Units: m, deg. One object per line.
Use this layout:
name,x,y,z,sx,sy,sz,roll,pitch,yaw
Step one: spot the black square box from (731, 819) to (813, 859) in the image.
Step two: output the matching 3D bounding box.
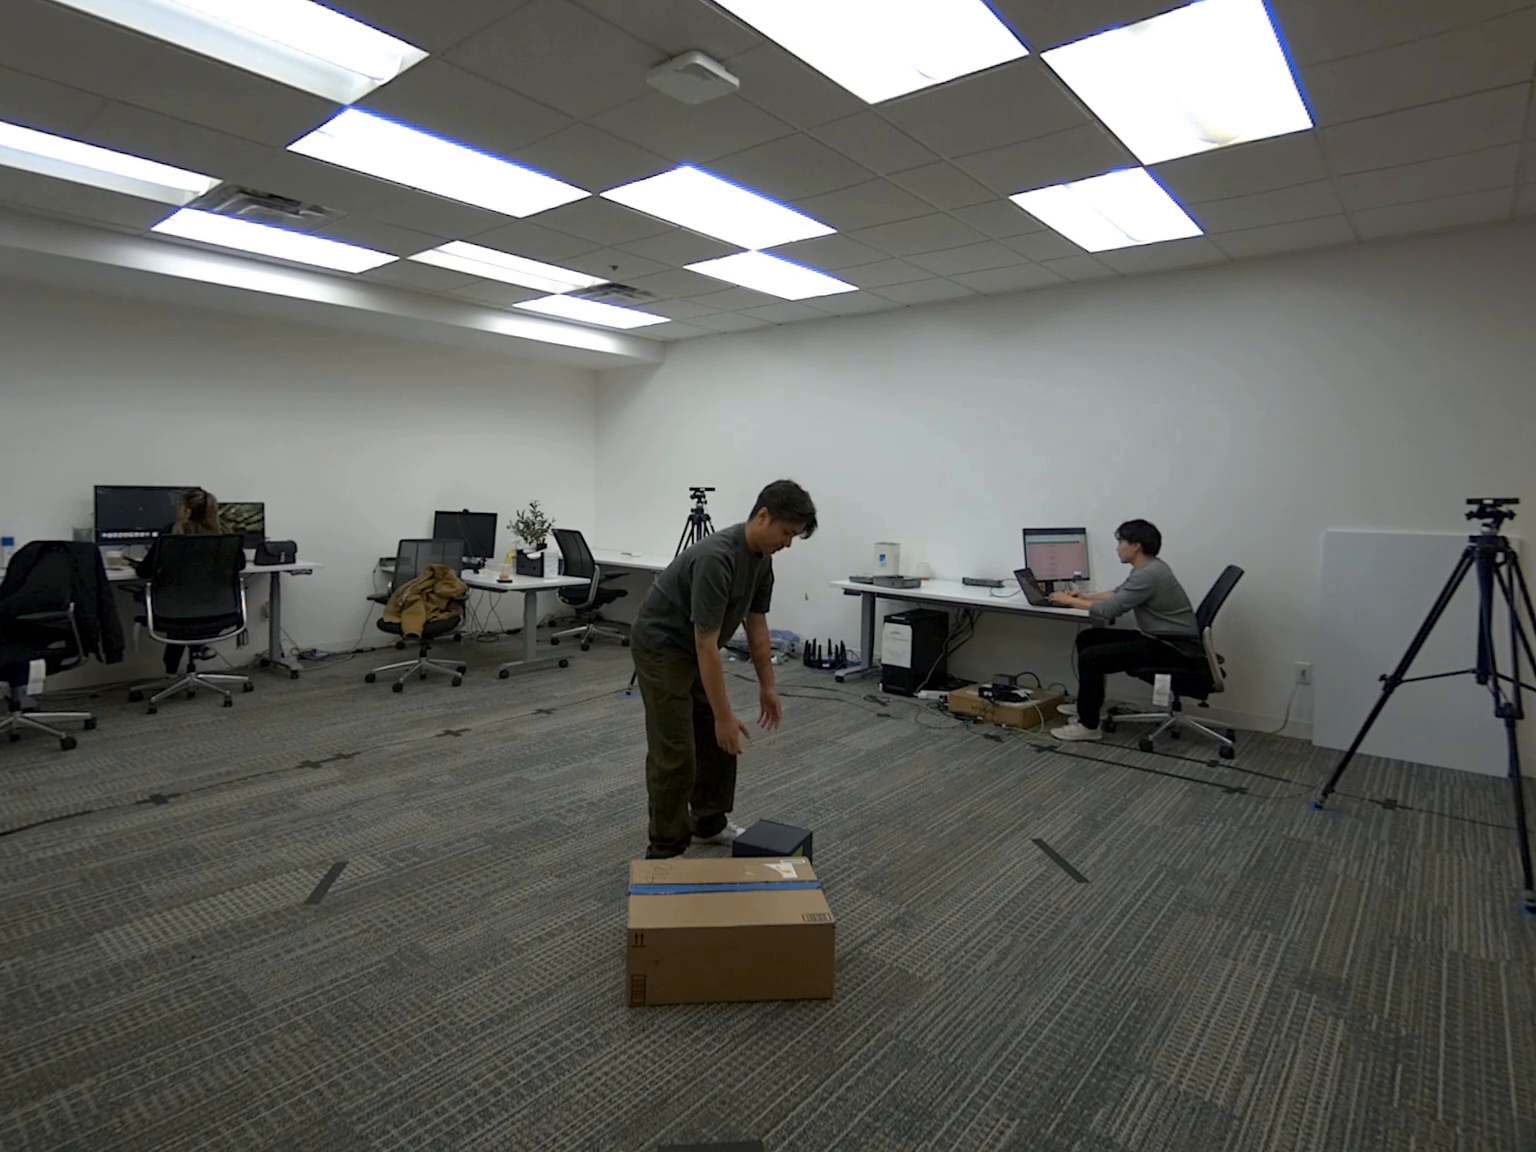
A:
black square box,0.010,0.999,3.034,0.223,0.155,0.222,4,6,27
